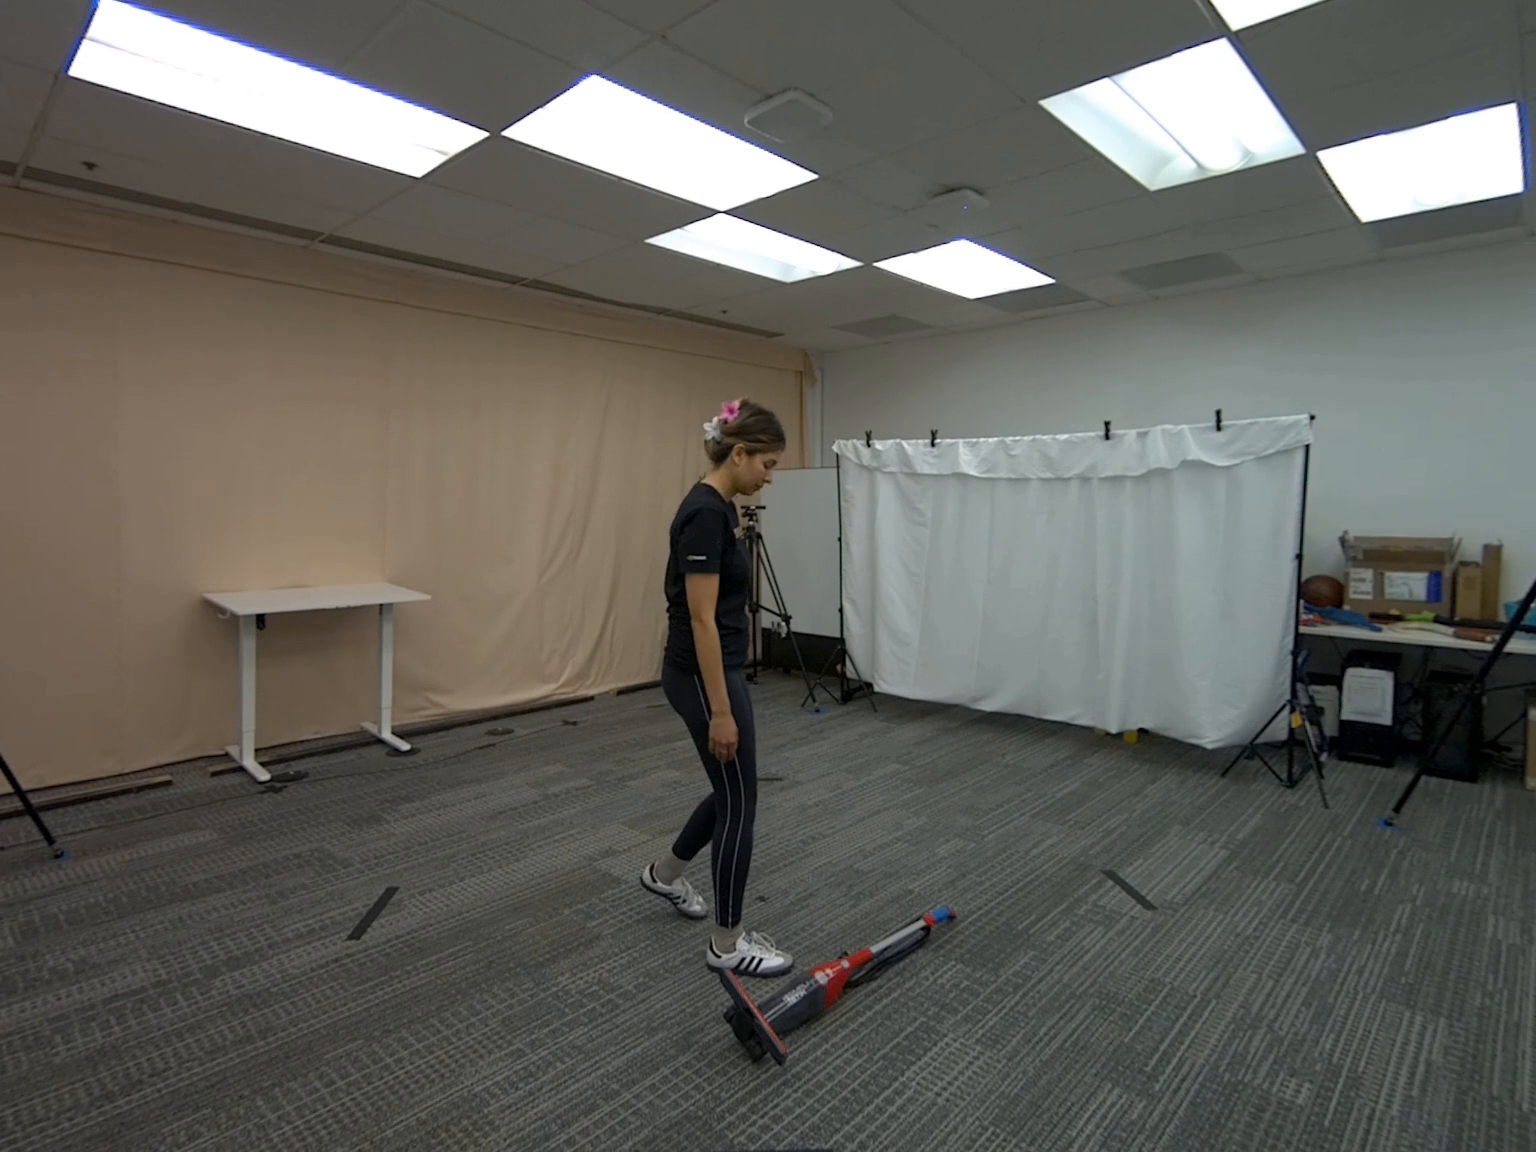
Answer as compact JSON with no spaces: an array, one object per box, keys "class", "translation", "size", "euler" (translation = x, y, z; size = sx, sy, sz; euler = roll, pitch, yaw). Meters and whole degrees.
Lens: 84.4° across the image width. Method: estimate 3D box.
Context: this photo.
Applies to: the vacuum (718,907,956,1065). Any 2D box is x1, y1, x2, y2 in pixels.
[{"class":"vacuum","translation":[0.291,1.140,2.467],"size":[1.015,0.144,0.261],"euler":[3,31,-47]}]
